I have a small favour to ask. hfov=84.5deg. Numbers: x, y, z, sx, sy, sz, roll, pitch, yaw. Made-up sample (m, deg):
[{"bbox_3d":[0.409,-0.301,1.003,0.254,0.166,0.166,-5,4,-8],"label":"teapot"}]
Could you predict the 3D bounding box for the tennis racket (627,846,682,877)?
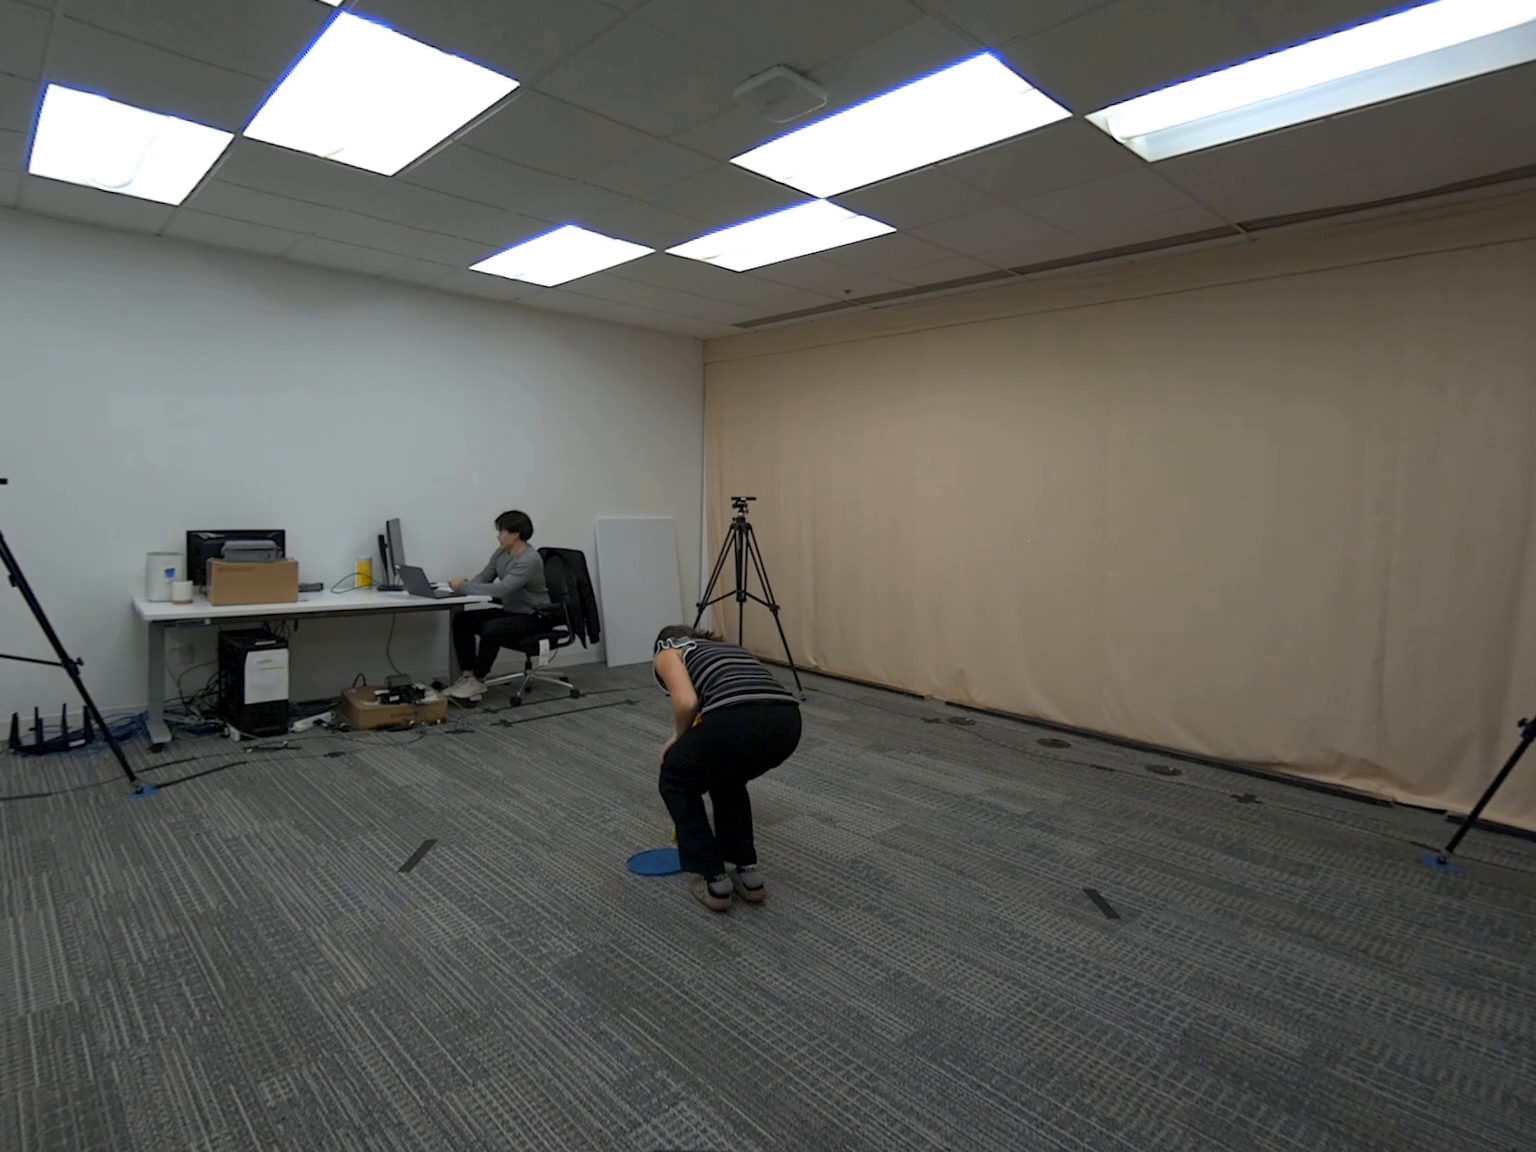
[{"bbox_3d":[-0.336,1.074,3.213,0.427,0.031,0.217,-2,5,-19],"label":"tennis racket"}]
